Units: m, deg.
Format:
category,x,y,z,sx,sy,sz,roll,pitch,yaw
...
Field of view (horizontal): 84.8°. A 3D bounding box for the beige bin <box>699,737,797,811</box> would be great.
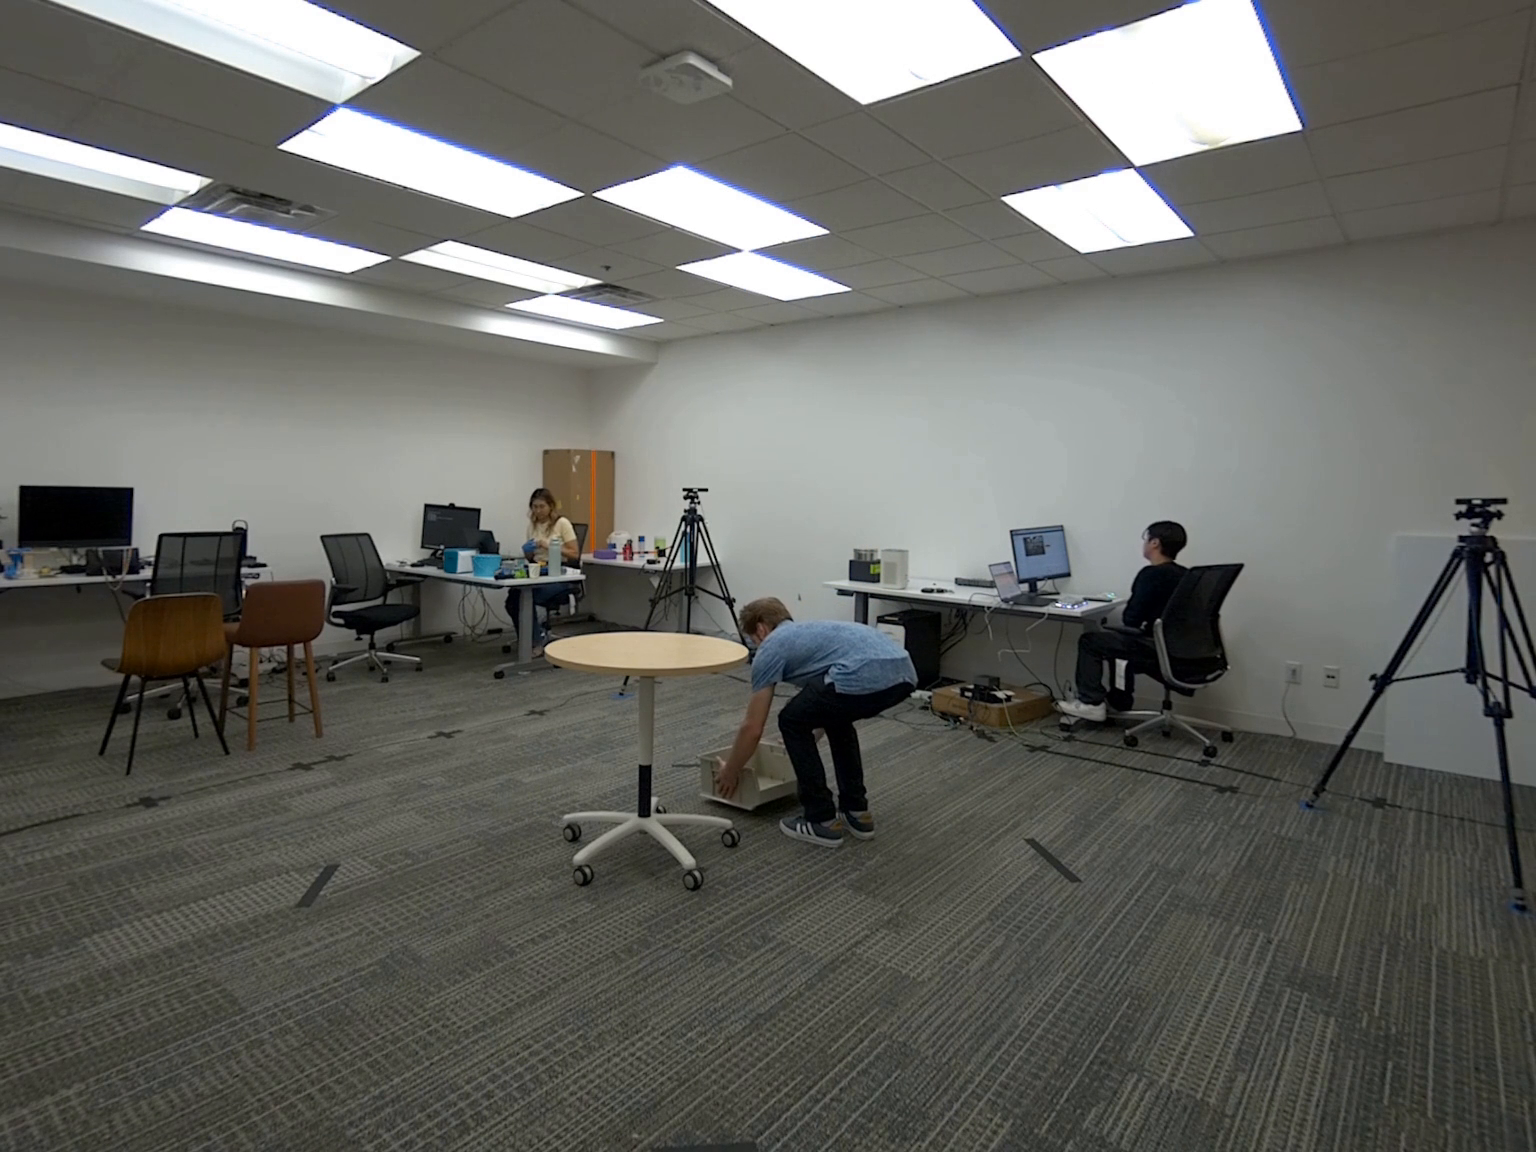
category,x,y,z,sx,sy,sz,roll,pitch,yaw
beige bin,-0.053,0.884,3.818,0.389,0.189,0.409,-1,2,42
